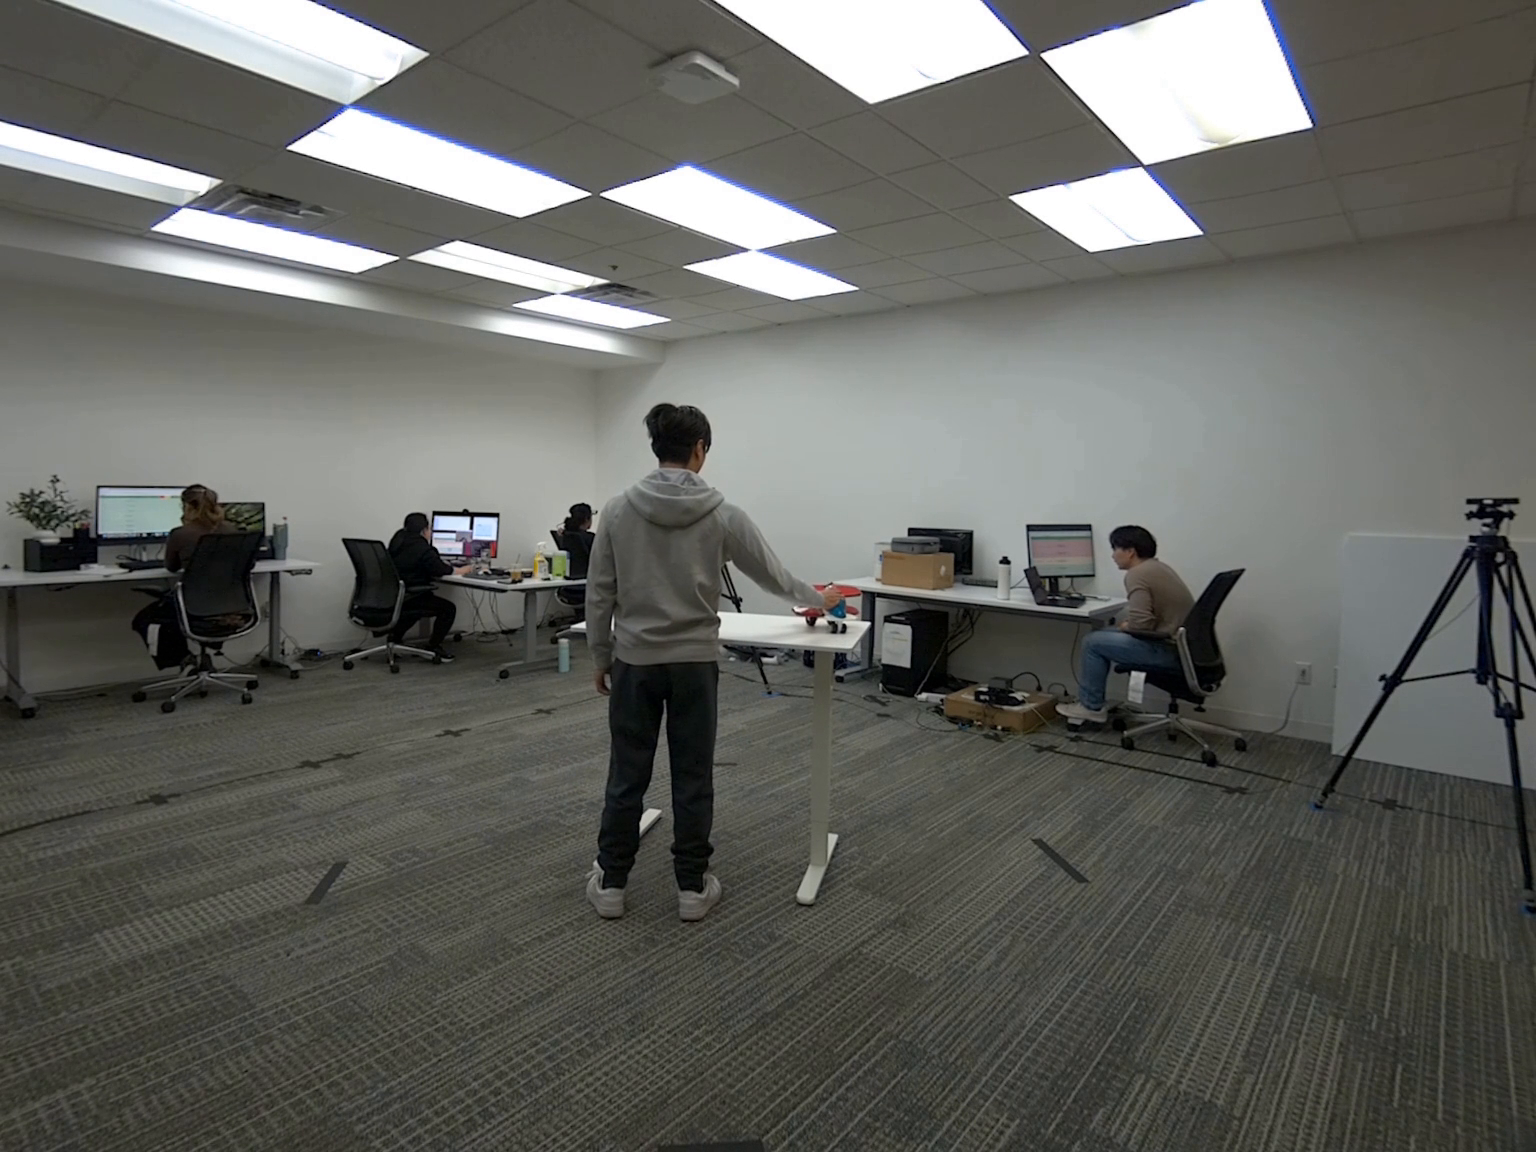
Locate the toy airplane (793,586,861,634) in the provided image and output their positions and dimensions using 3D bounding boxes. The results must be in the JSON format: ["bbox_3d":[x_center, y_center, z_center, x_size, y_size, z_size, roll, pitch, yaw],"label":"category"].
[{"bbox_3d":[0.235,0.116,3.140,0.244,0.156,0.268,-4,7,-41],"label":"toy airplane"}]
